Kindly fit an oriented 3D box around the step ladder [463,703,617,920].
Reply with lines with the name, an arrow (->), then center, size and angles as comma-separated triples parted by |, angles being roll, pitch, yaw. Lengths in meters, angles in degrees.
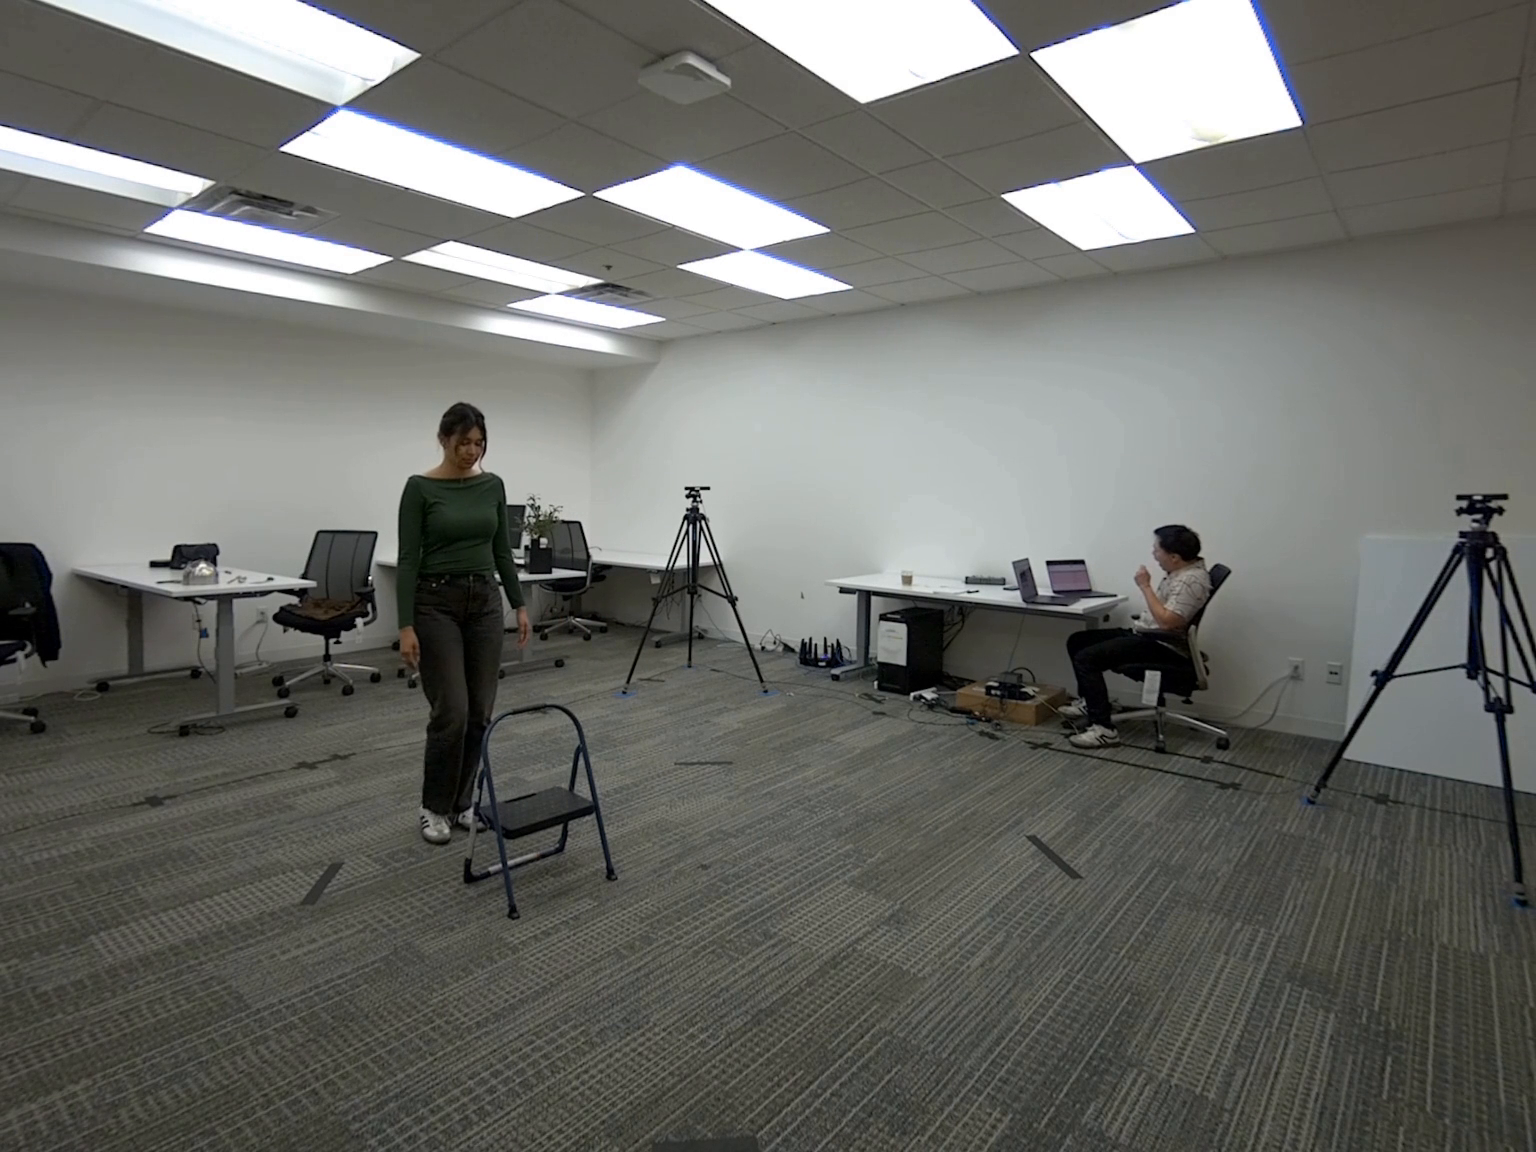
step ladder -> -0.810, 0.767, 2.977 | 0.361, 0.605, 0.417 | 3, 4, 43
